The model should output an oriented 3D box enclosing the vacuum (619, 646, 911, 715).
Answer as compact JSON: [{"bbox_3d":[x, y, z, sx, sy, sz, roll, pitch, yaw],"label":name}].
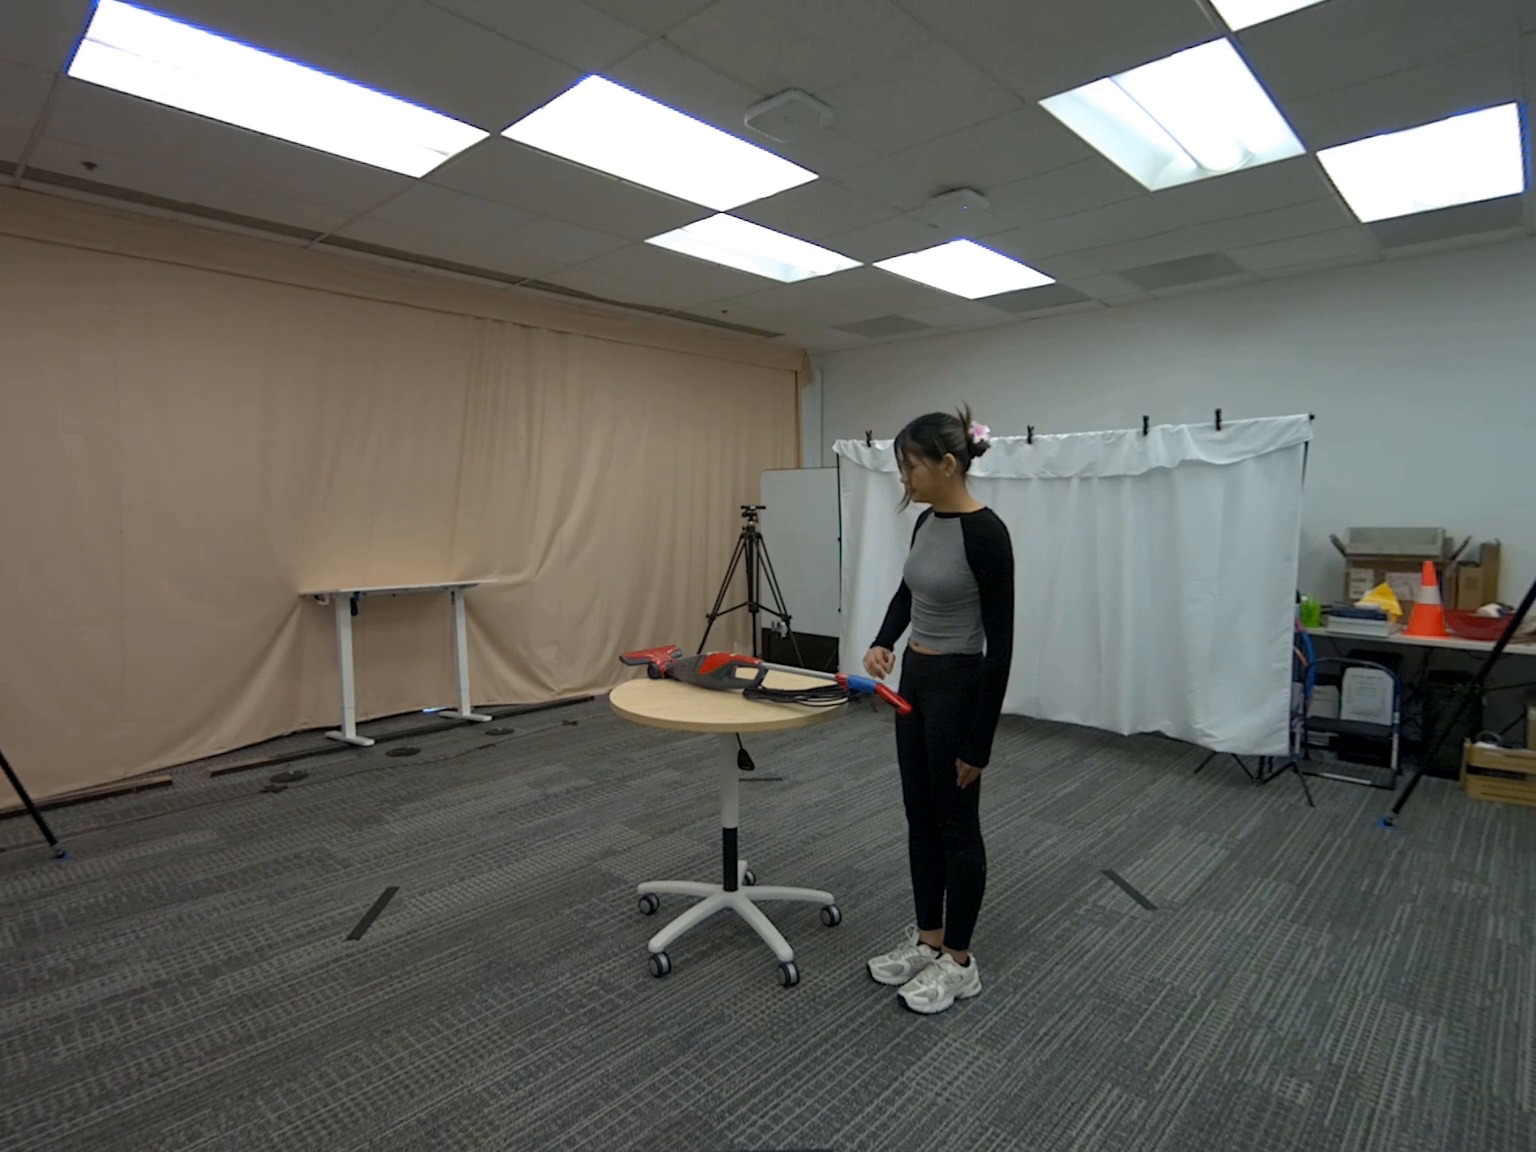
[{"bbox_3d":[-0.025,0.338,2.607,1.084,0.144,0.245,3,4,45],"label":"vacuum"}]
